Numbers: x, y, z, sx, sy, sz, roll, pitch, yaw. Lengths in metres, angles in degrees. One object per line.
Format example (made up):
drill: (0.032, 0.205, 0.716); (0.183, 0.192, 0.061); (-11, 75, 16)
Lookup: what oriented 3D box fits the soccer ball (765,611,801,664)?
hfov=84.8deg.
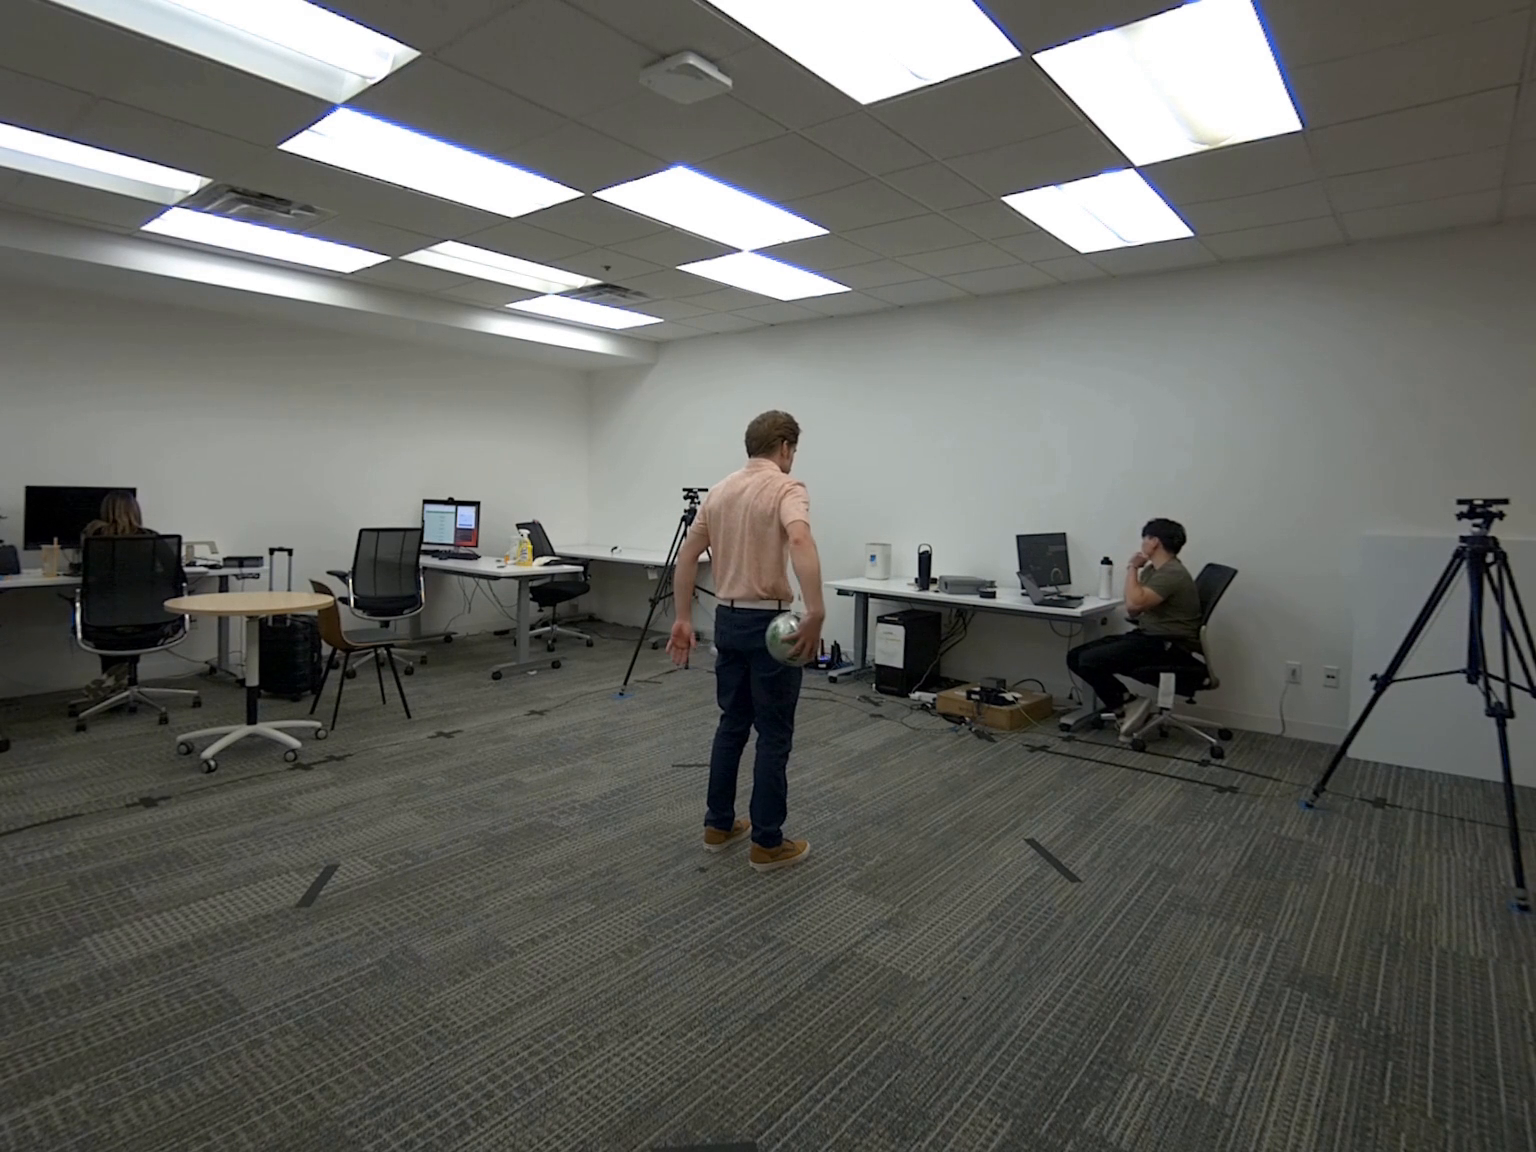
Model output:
soccer ball: (0.065, 0.203, 2.934); (0.187, 0.187, 0.188); (1, 4, -2)
